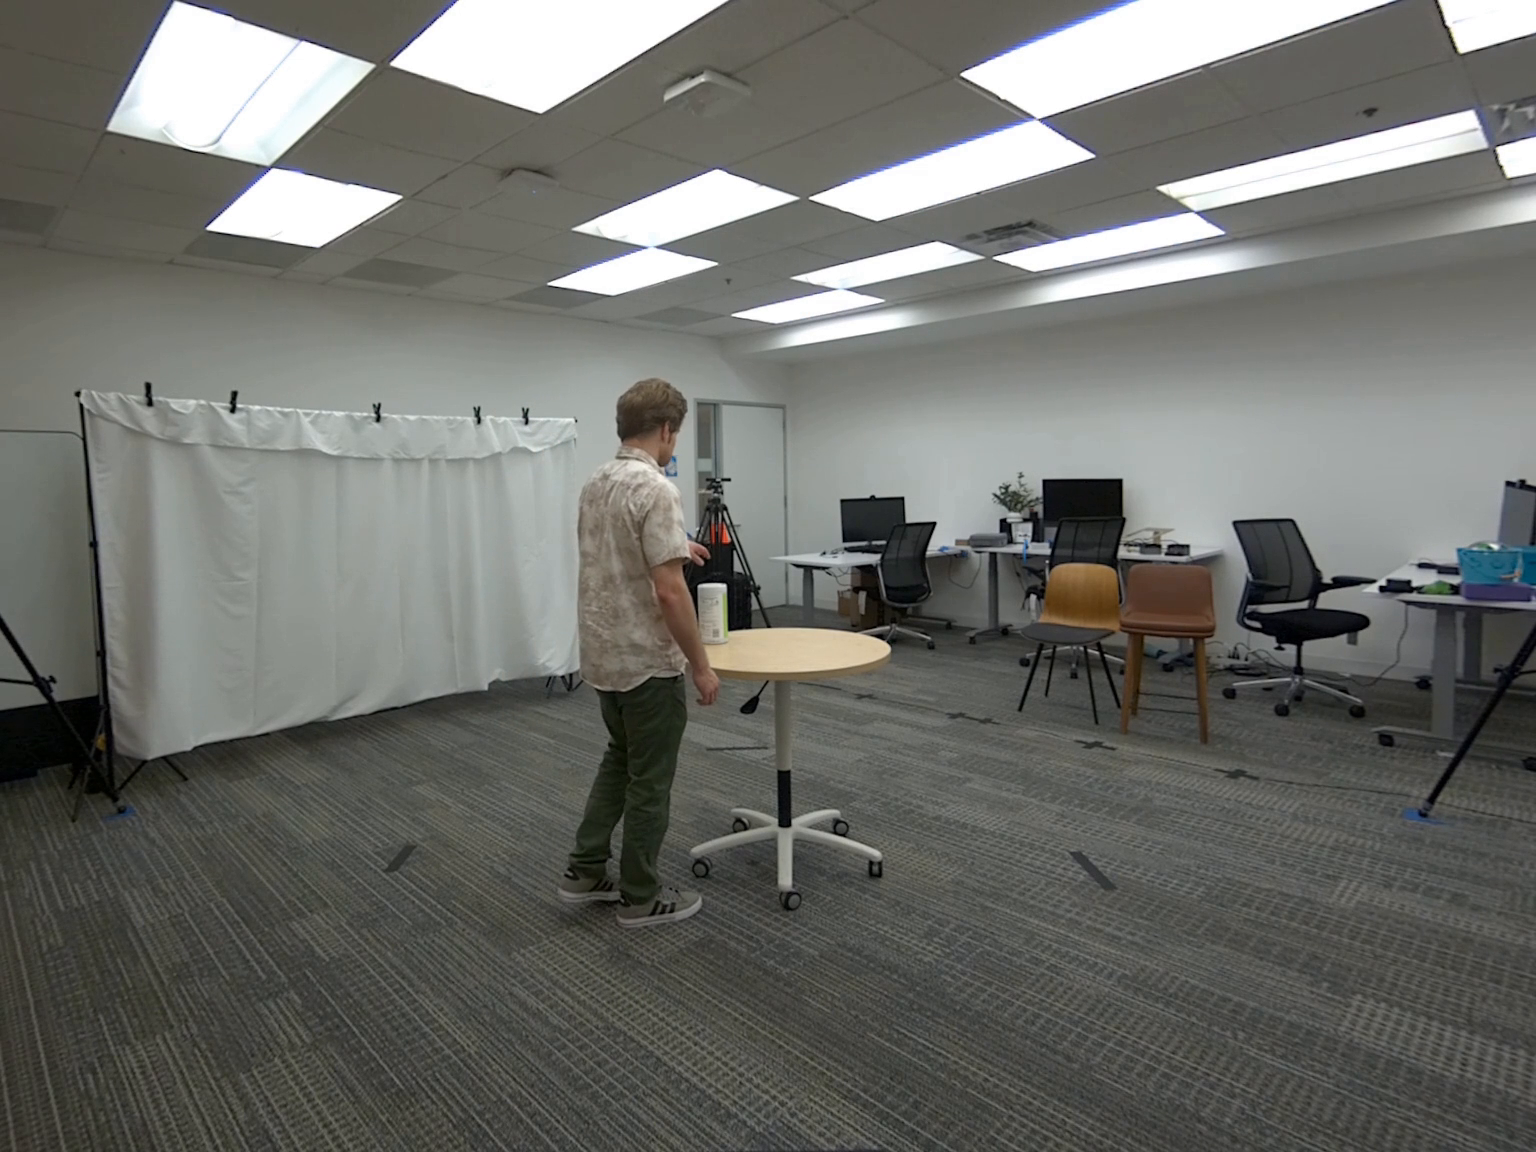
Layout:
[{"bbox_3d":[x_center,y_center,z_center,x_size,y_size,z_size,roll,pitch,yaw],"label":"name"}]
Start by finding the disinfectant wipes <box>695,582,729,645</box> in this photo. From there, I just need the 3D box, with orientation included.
[{"bbox_3d":[-0.200,0.141,3.178,0.118,0.217,0.118,-2,3,-2],"label":"disinfectant wipes"}]
